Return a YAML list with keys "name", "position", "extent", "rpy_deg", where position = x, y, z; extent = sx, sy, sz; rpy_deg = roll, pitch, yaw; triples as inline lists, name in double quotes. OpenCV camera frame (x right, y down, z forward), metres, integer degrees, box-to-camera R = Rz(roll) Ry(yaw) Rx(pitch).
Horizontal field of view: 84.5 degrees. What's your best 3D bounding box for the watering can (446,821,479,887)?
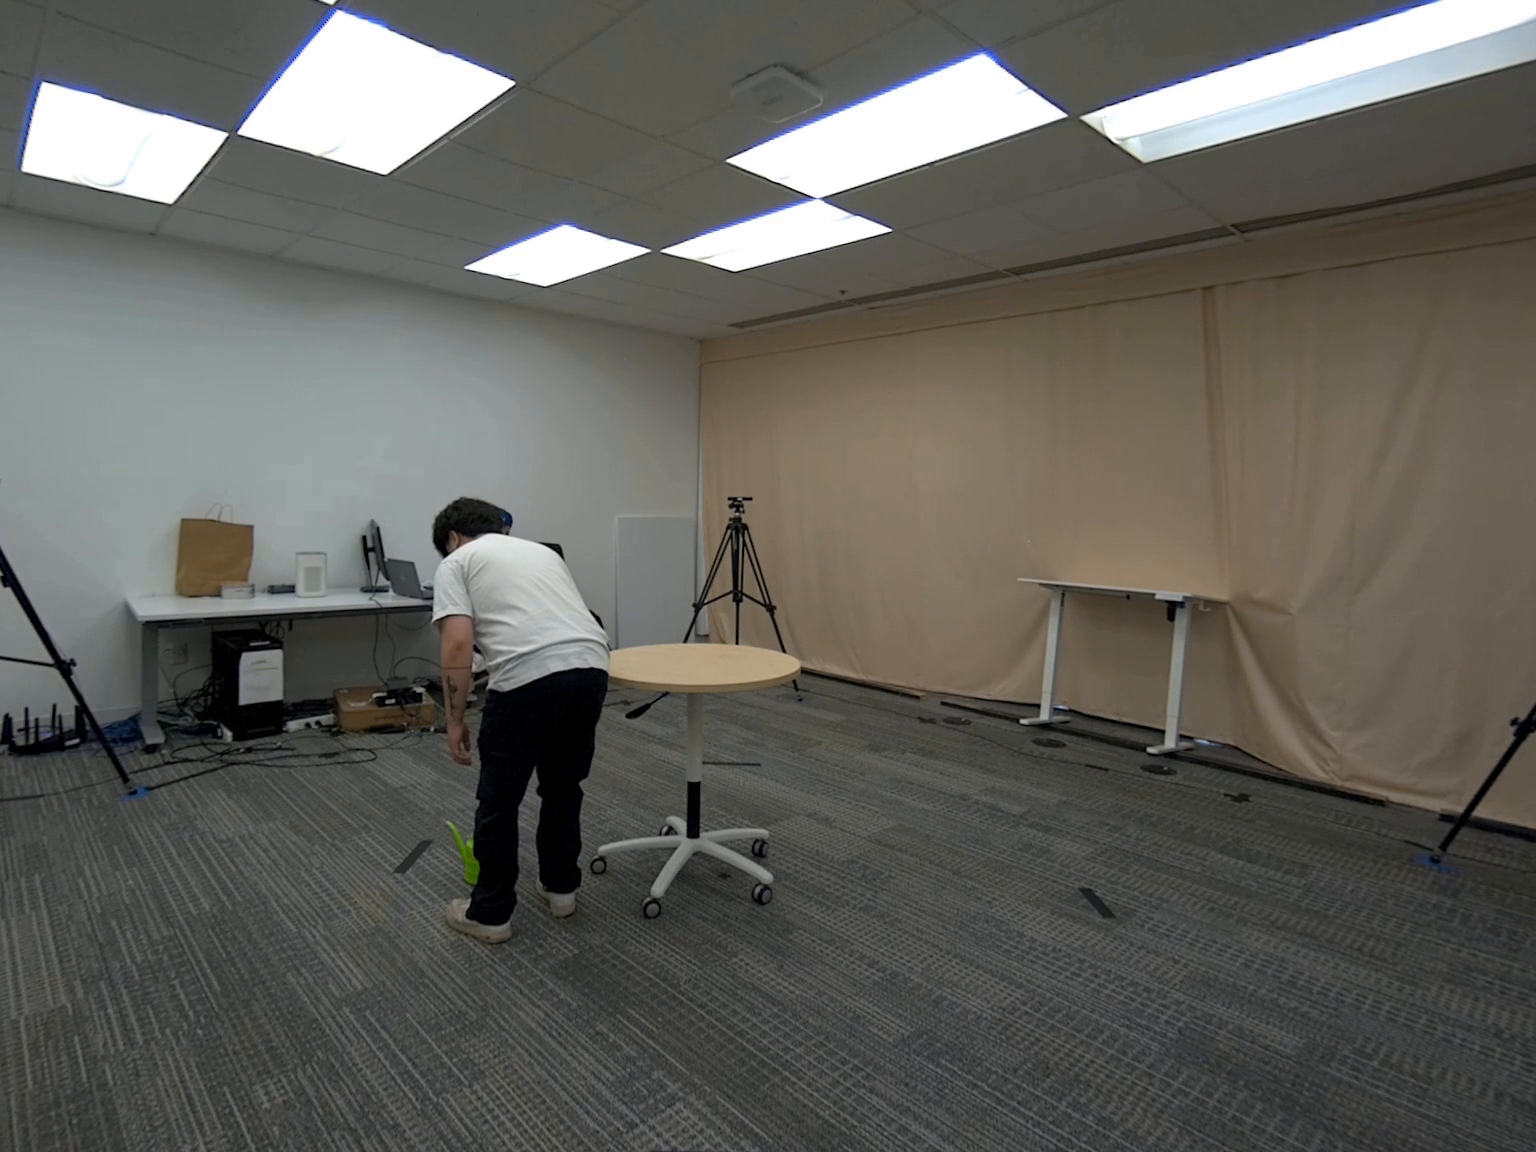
- name: "watering can"
  position: [-1.077, 1.009, 3.047]
  extent: [0.285, 0.176, 0.096]
  rpy_deg: [7, 6, 40]
